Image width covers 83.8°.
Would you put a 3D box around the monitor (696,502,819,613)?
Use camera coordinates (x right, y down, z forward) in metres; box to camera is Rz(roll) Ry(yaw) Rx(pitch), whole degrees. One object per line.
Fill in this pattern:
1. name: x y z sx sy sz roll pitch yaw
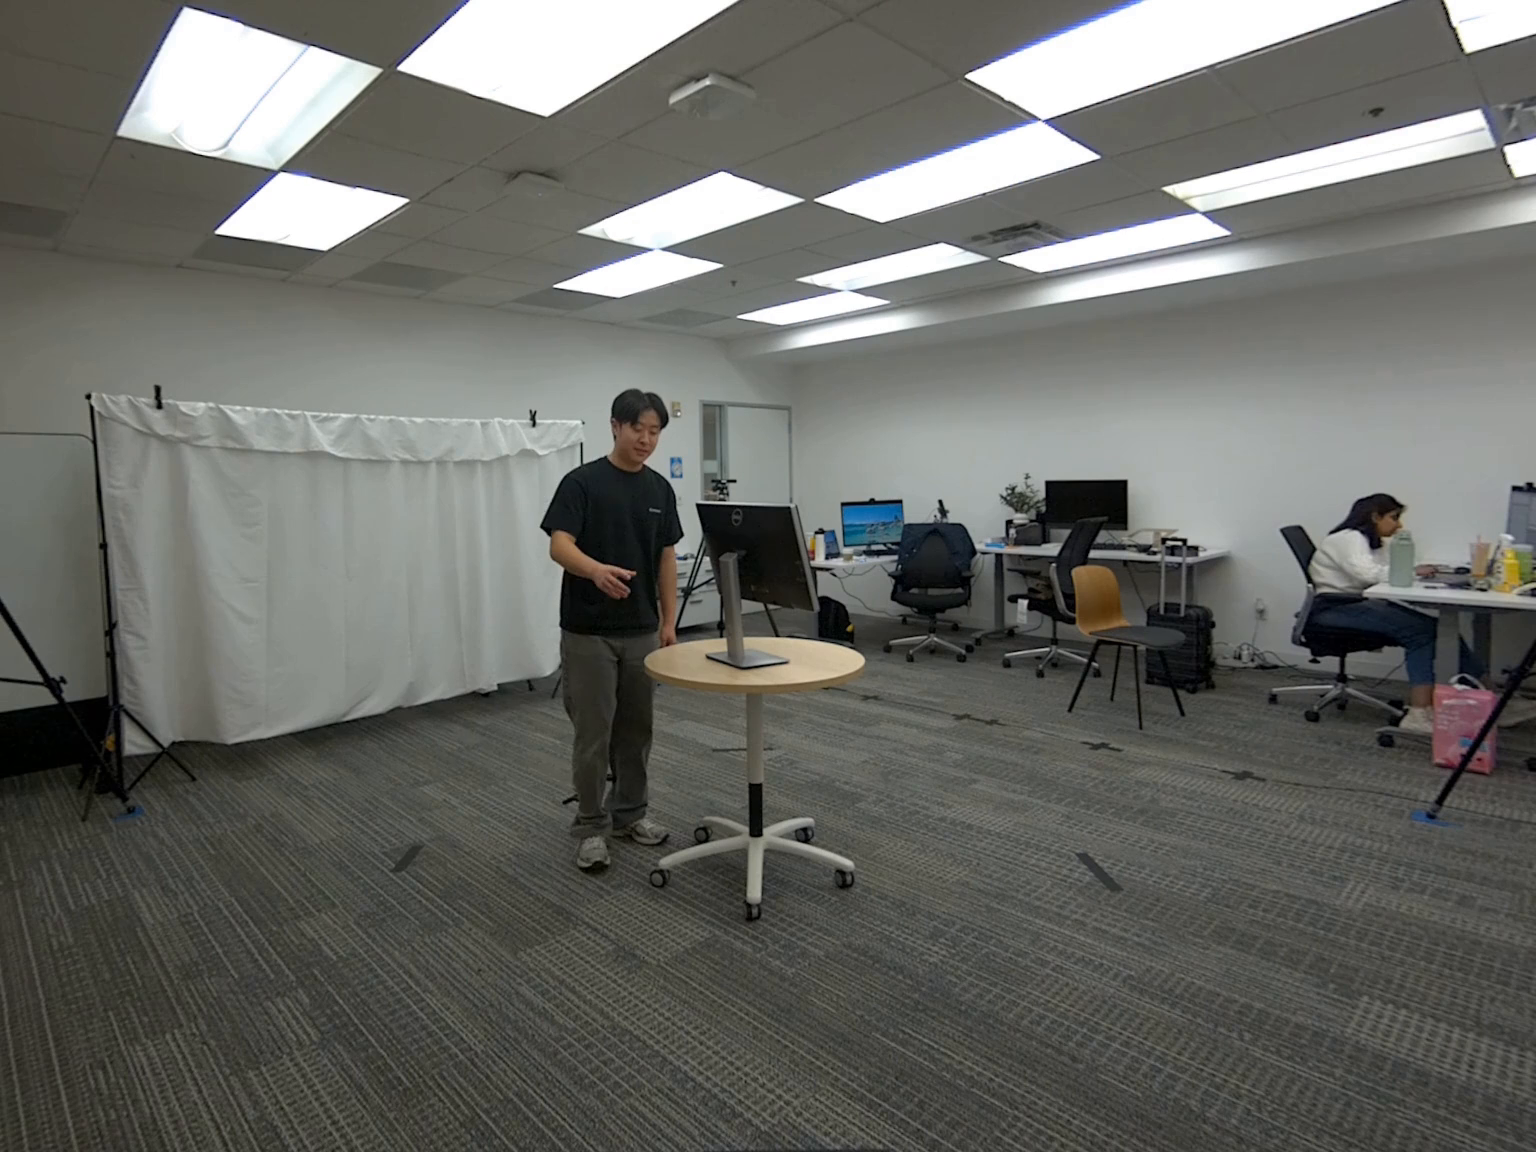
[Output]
1. monitor: -0.072 0.030 2.931 0.216 0.564 0.578 -2 6 -33
